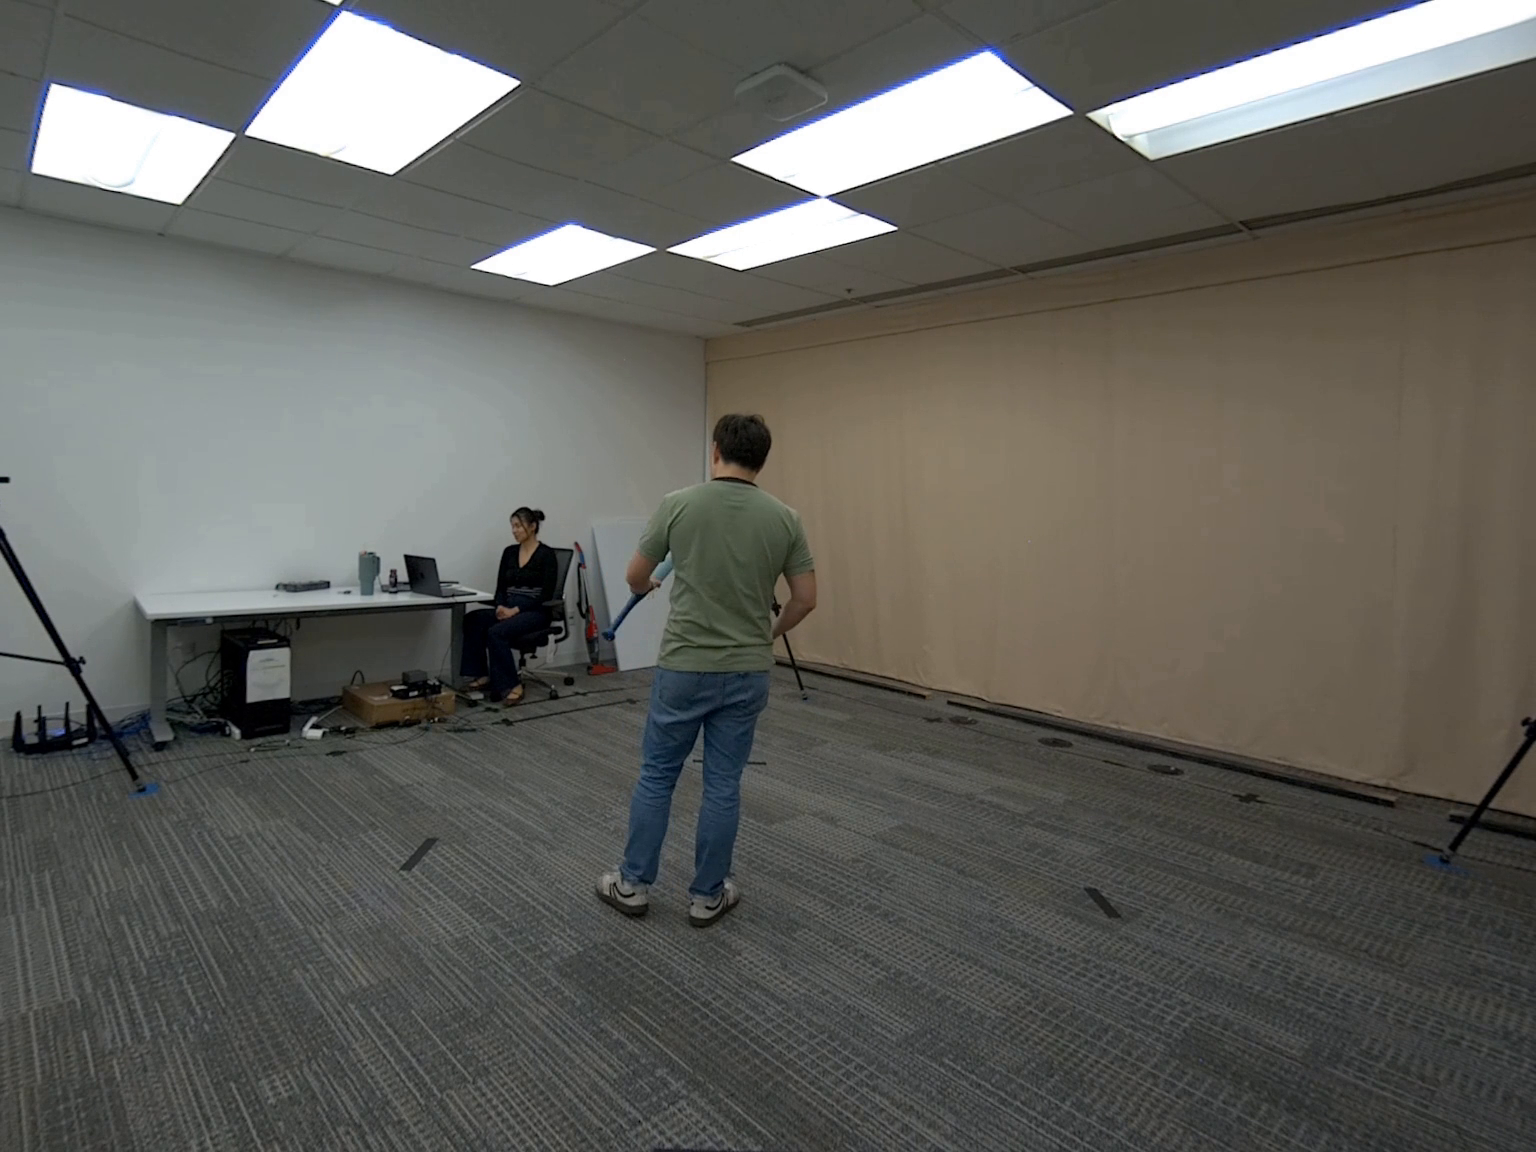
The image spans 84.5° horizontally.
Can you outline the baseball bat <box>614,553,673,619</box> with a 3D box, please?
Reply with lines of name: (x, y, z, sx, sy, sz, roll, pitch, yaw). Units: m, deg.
baseball bat: (-0.464, 0.045, 3.126, 0.091, 0.086, 0.546, 3, 42, 28)
